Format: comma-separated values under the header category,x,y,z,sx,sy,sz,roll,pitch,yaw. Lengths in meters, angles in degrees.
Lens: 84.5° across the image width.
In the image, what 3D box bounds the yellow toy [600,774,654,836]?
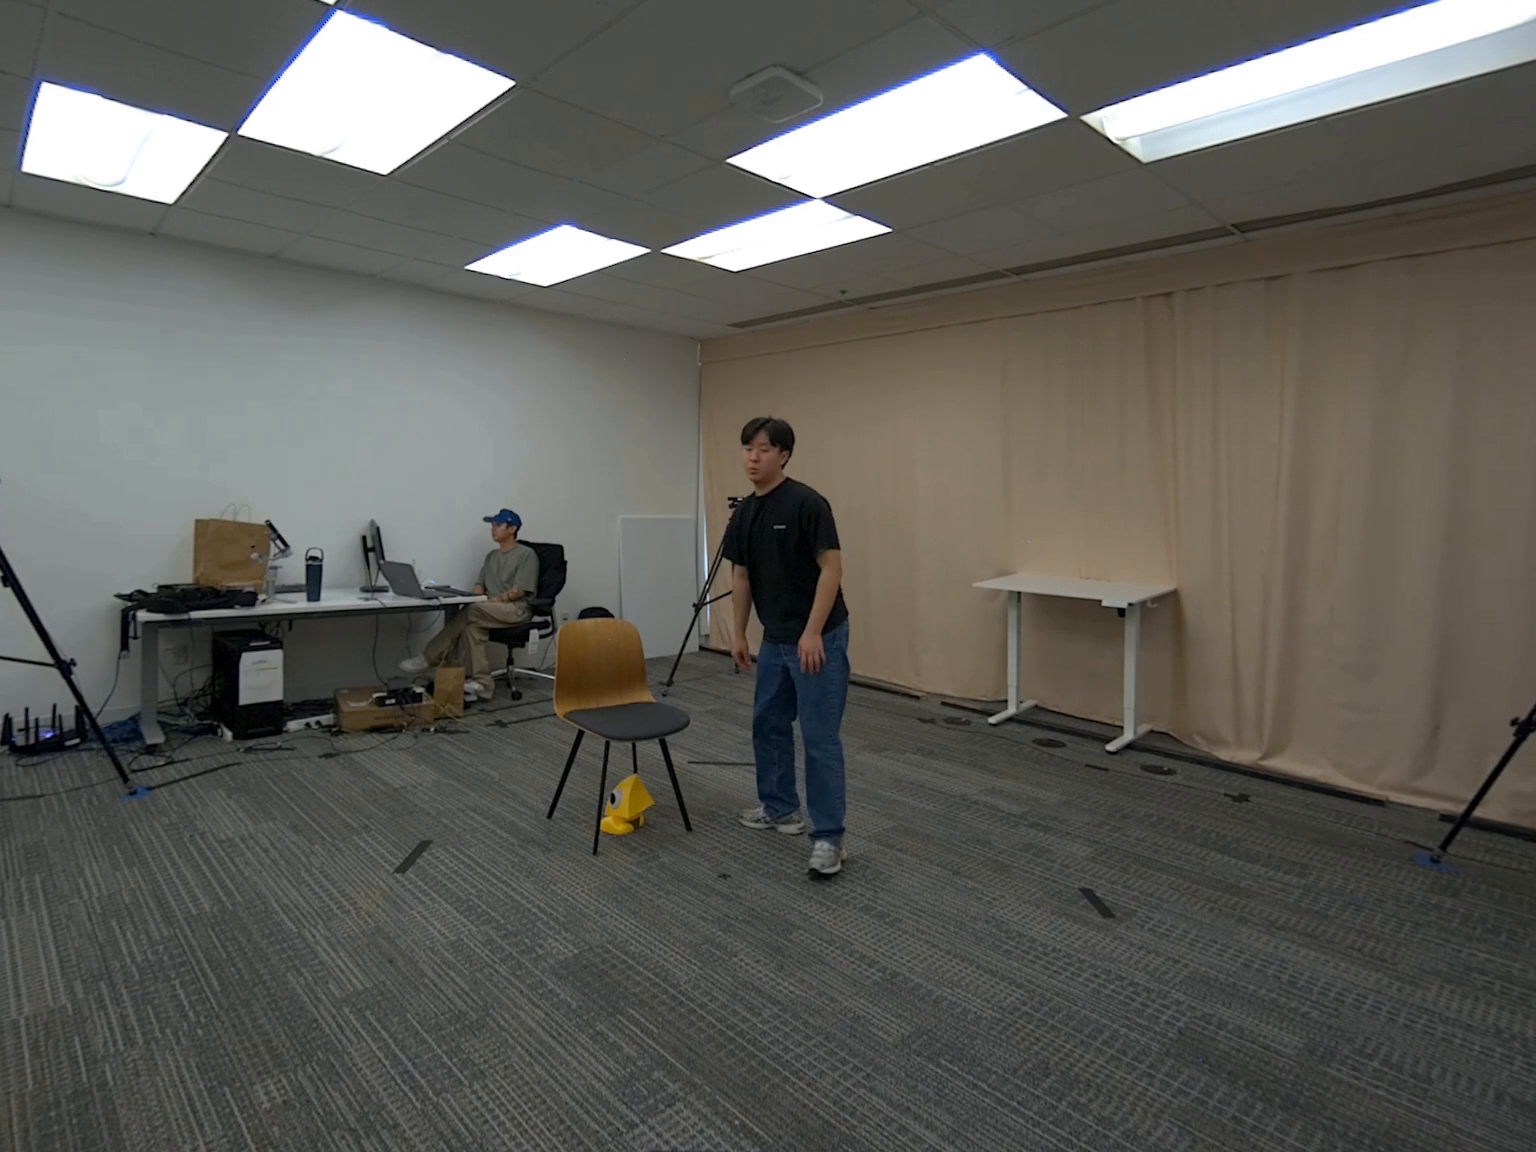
category,x,y,z,sx,sy,sz,roll,pitch,yaw
yellow toy,-0.625,0.949,3.566,0.197,0.230,0.201,3,5,27
